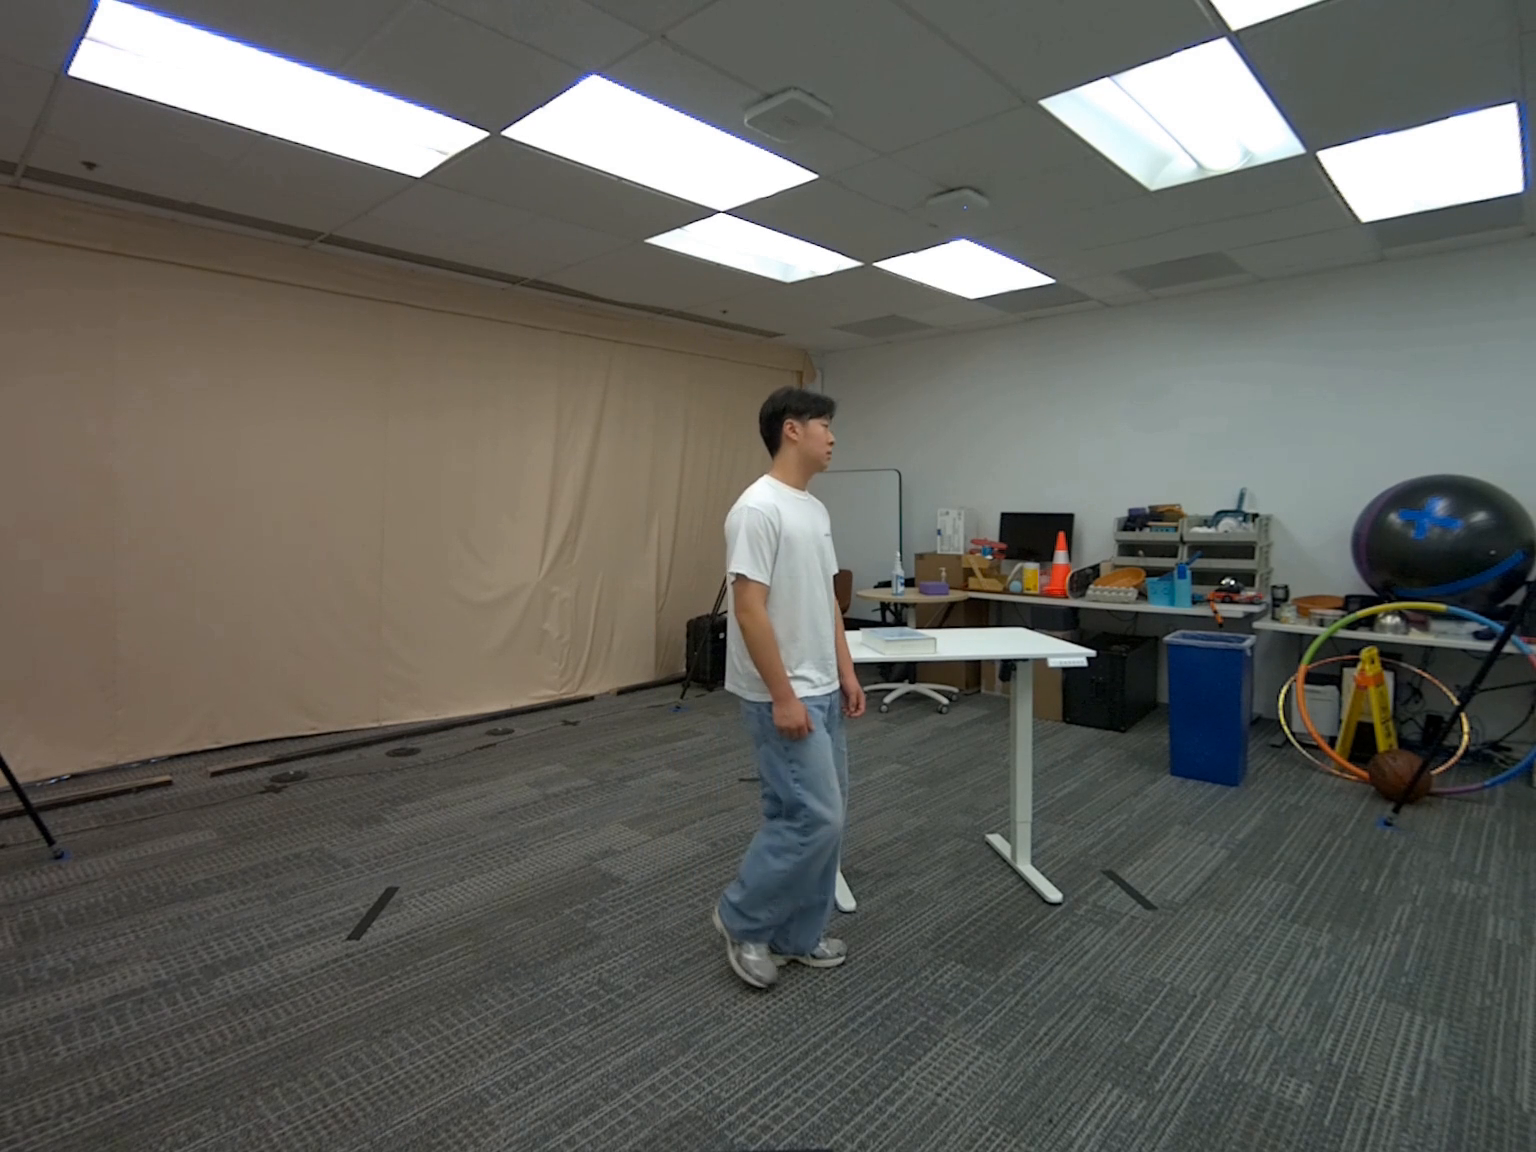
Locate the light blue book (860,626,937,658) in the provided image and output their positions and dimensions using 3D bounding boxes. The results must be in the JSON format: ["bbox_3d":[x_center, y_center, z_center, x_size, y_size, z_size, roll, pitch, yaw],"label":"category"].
[{"bbox_3d":[0.479,0.237,2.988,0.189,0.059,0.265,-3,4,-12],"label":"light blue book"}]
